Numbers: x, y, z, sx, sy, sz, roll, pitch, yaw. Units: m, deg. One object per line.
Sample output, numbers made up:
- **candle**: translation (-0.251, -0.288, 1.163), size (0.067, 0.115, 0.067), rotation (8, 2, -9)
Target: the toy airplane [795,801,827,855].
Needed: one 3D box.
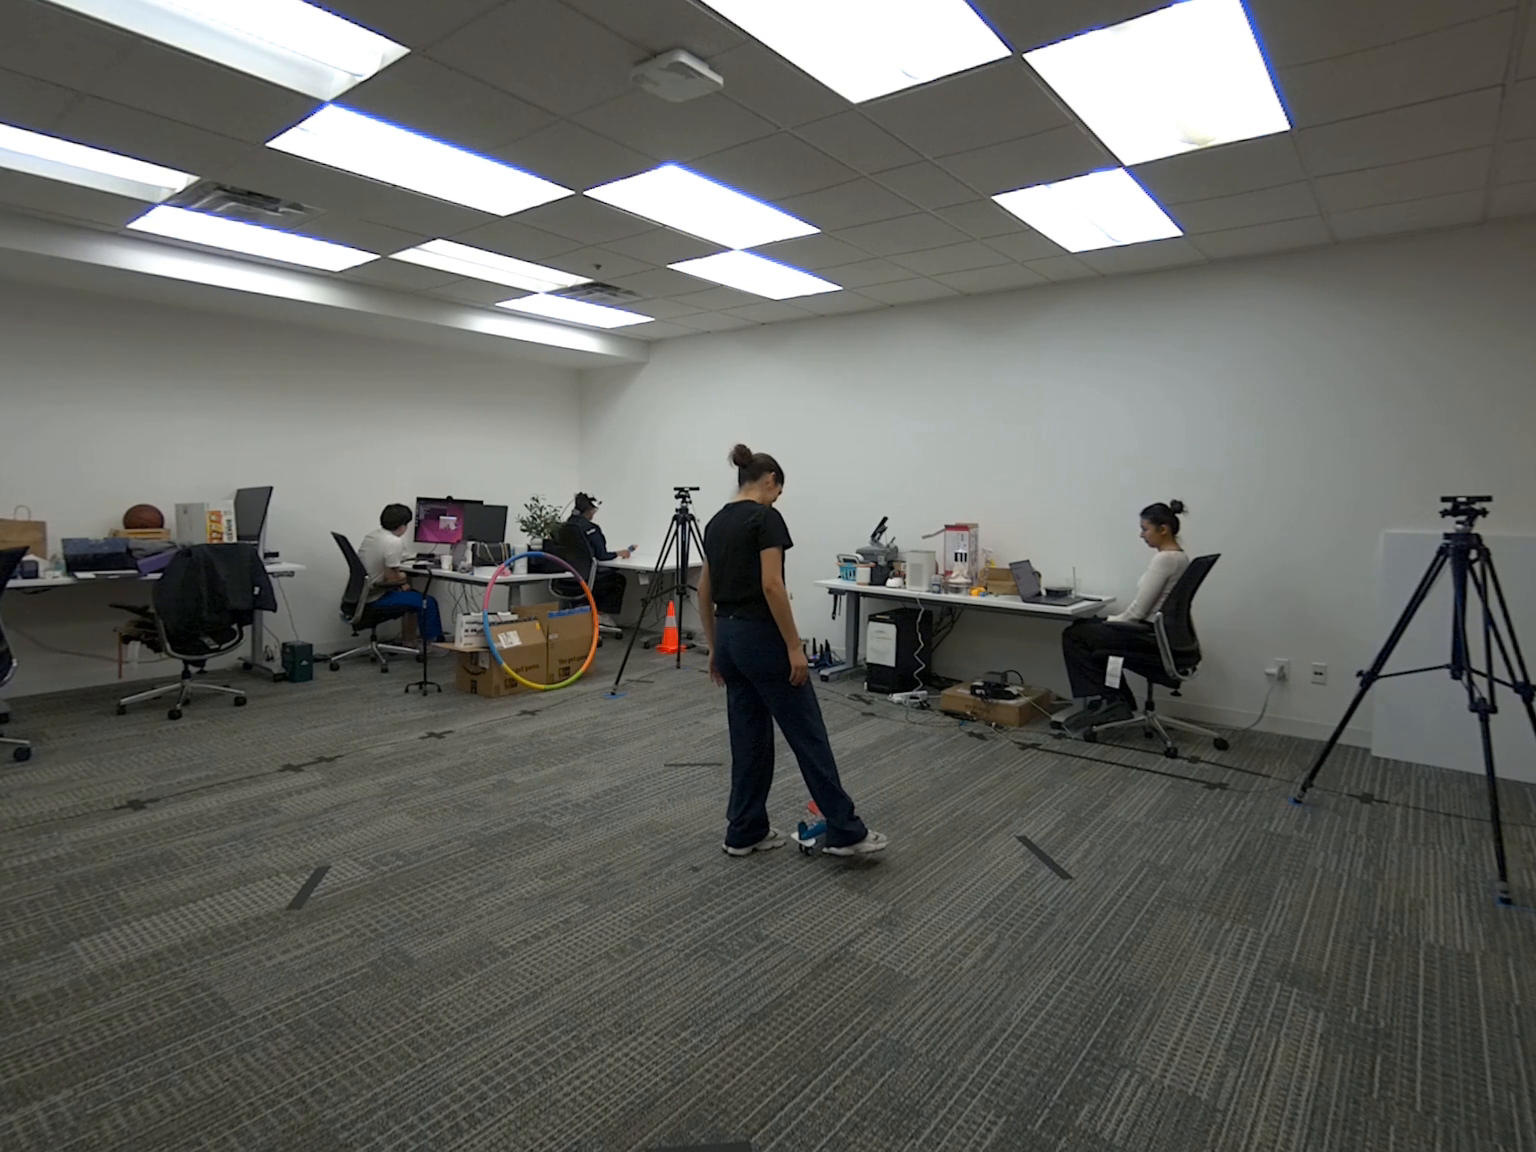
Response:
- **toy airplane**: translation (0.249, 0.982, 3.294), size (0.258, 0.156, 0.253), rotation (3, 5, 29)
